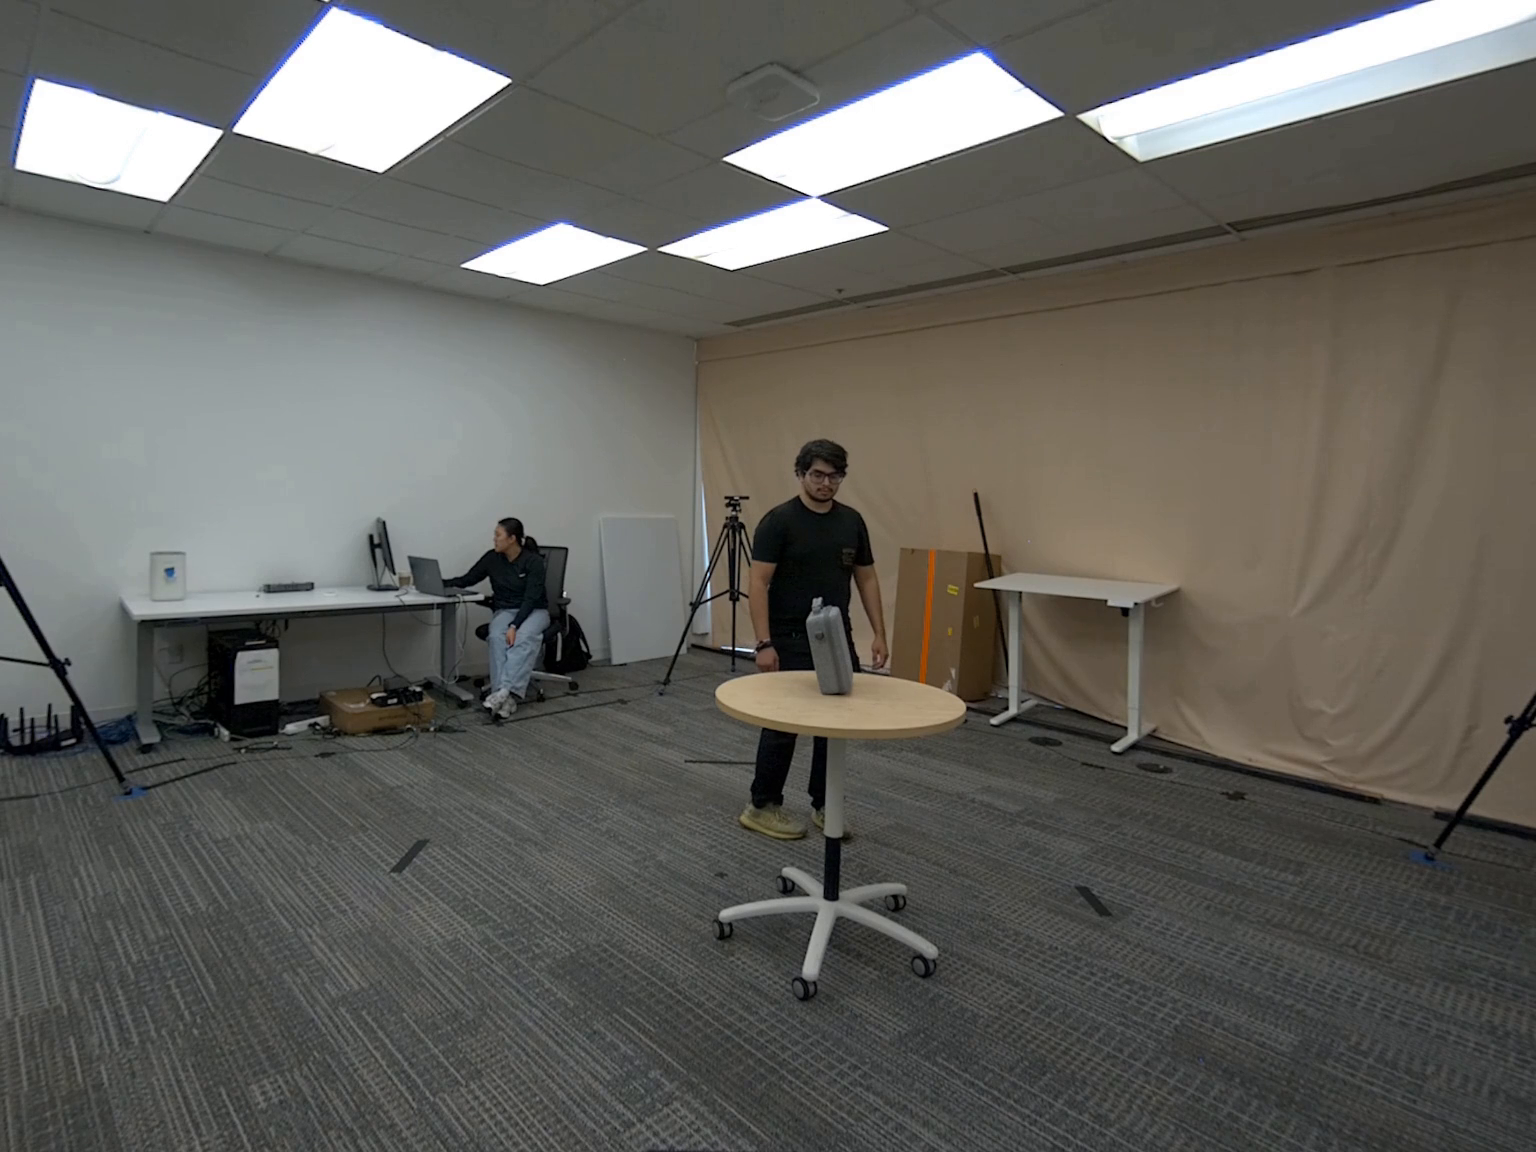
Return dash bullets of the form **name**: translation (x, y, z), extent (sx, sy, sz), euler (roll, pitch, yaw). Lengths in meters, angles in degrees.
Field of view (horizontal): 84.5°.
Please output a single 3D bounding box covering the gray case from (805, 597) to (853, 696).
- **gray case**: translation (0.192, 0.236, 2.720), extent (0.105, 0.260, 0.256), euler (-10, 2, 6)
